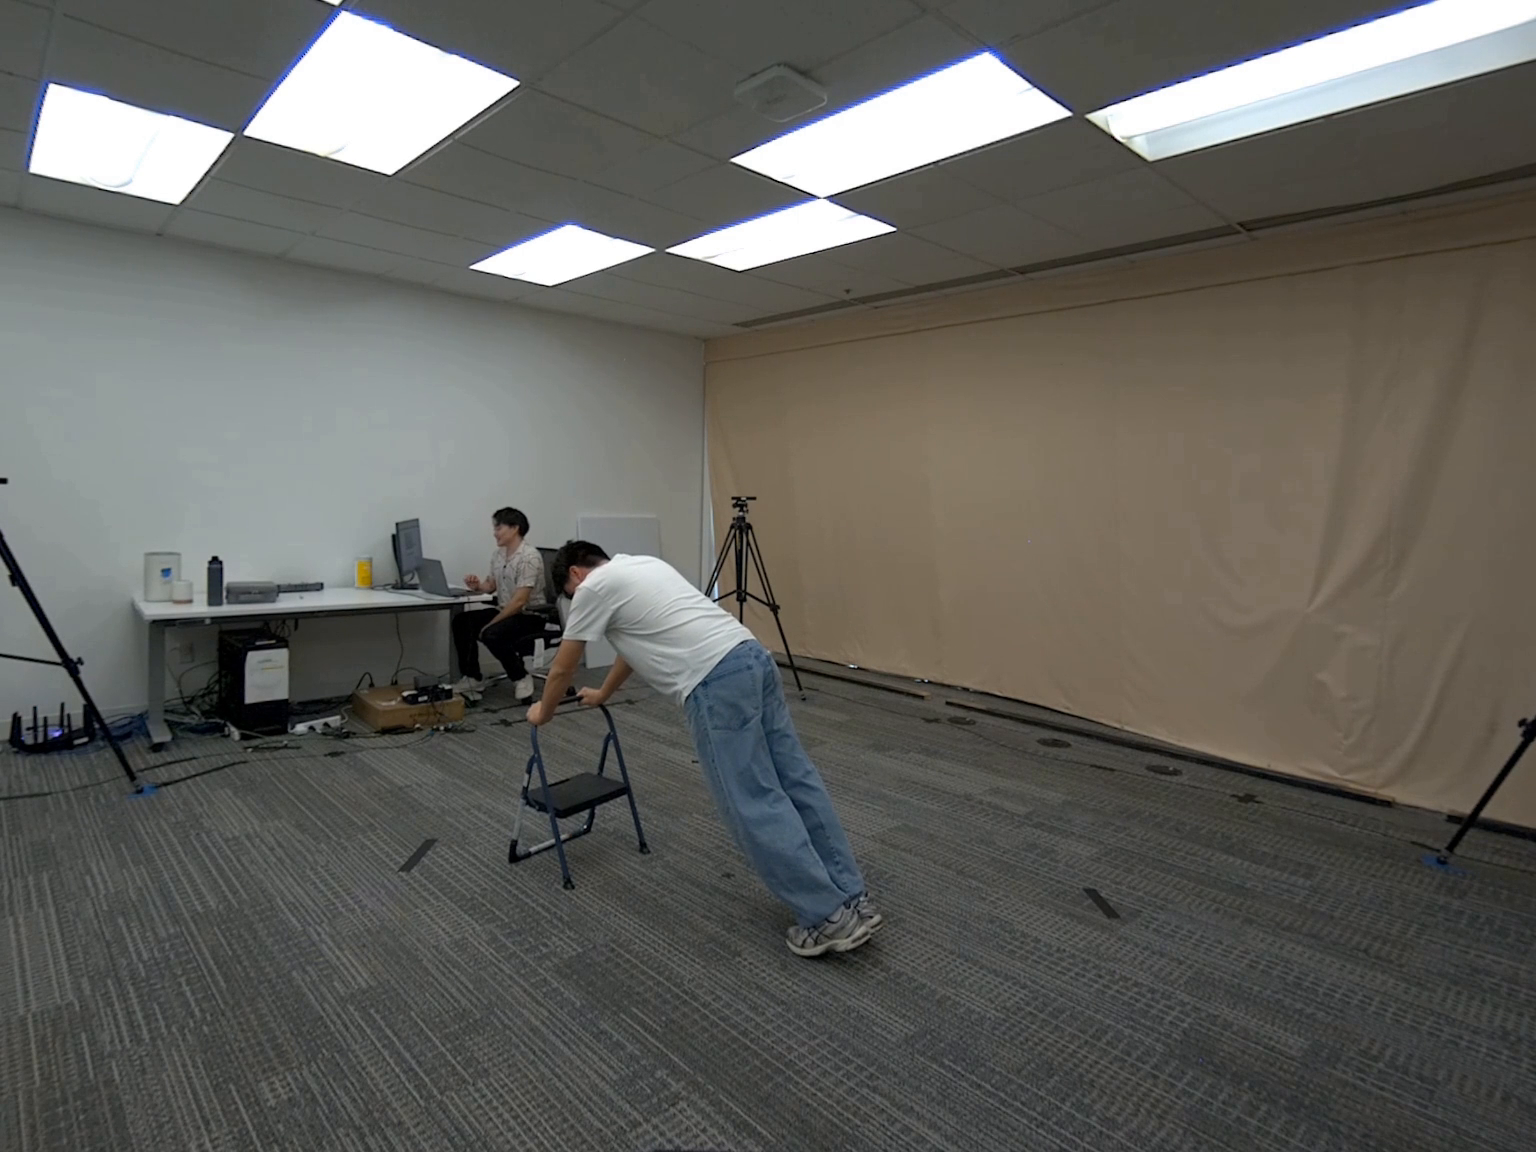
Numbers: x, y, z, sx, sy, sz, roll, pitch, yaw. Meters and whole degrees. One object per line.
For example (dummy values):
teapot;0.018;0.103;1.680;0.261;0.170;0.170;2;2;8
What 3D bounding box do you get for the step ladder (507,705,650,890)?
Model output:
step ladder;-0.725;0.779;3.223;0.357;0.605;0.421;3;4;34
